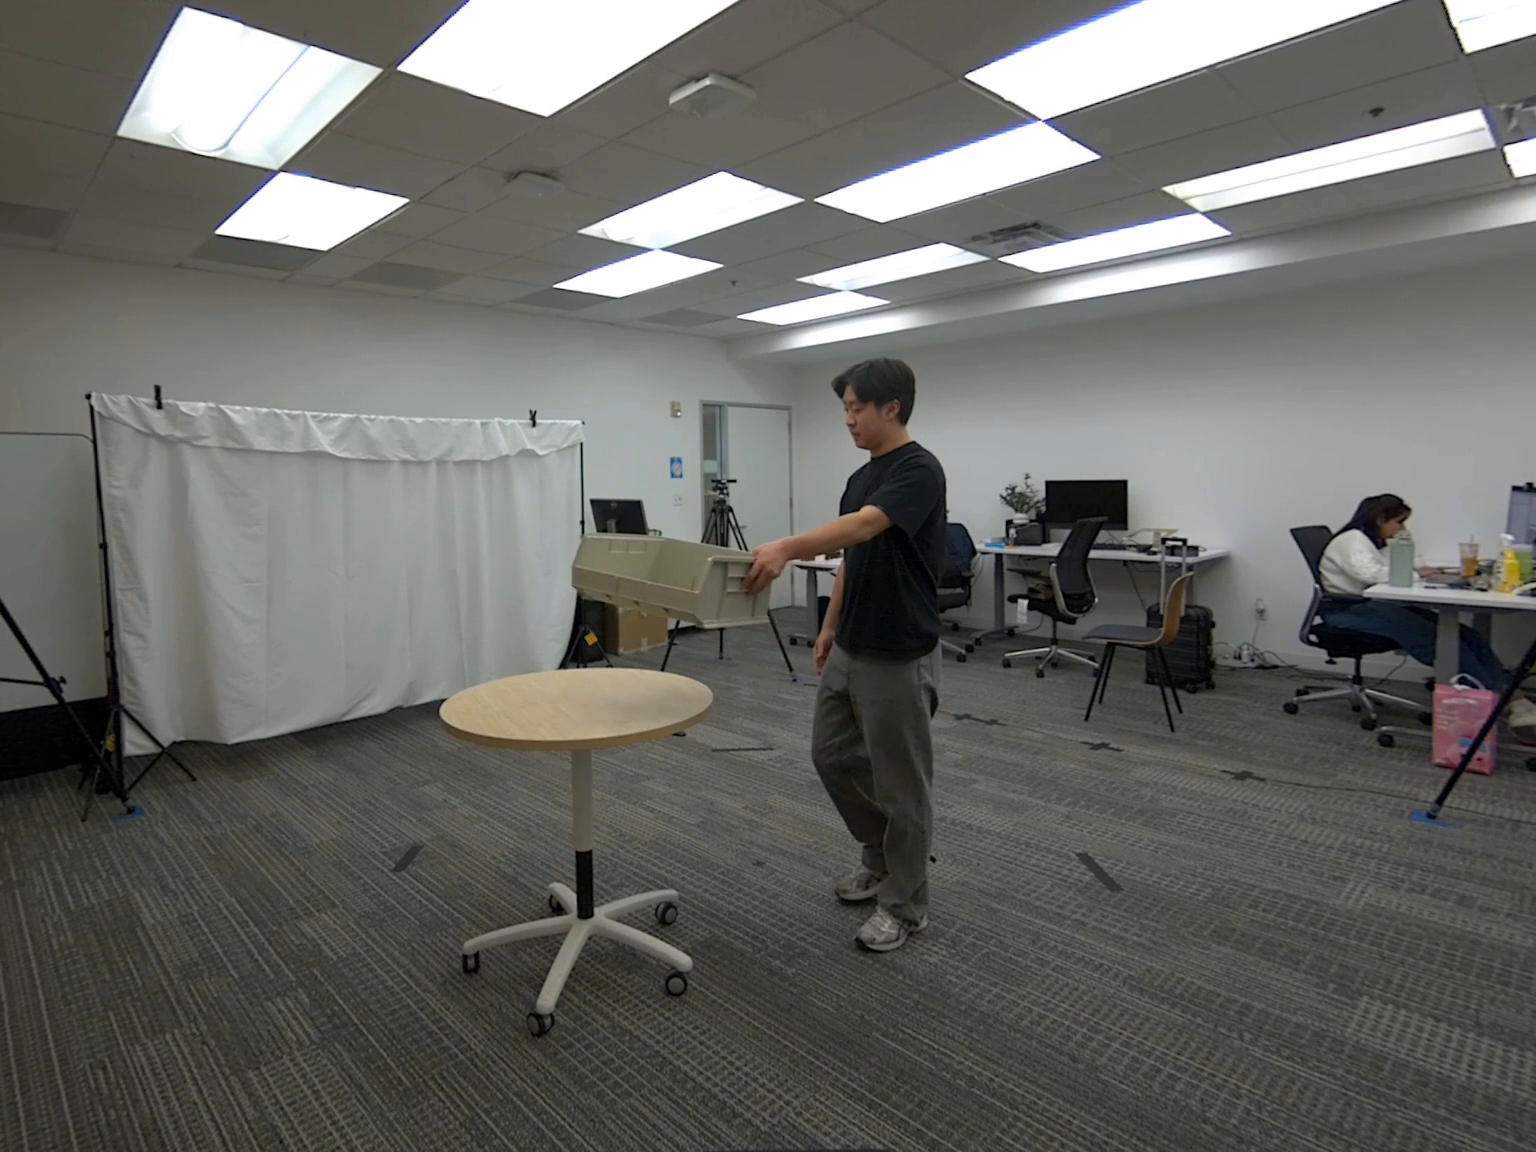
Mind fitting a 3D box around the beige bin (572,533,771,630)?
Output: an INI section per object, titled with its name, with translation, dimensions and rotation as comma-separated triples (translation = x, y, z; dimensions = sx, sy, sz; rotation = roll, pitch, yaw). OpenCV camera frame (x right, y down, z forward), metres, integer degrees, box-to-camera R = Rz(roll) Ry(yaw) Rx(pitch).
[beige bin]
translation = -0.238, 0.012, 2.294
dimensions = 0.435, 0.188, 0.367
rotation = 10, 4, 30
